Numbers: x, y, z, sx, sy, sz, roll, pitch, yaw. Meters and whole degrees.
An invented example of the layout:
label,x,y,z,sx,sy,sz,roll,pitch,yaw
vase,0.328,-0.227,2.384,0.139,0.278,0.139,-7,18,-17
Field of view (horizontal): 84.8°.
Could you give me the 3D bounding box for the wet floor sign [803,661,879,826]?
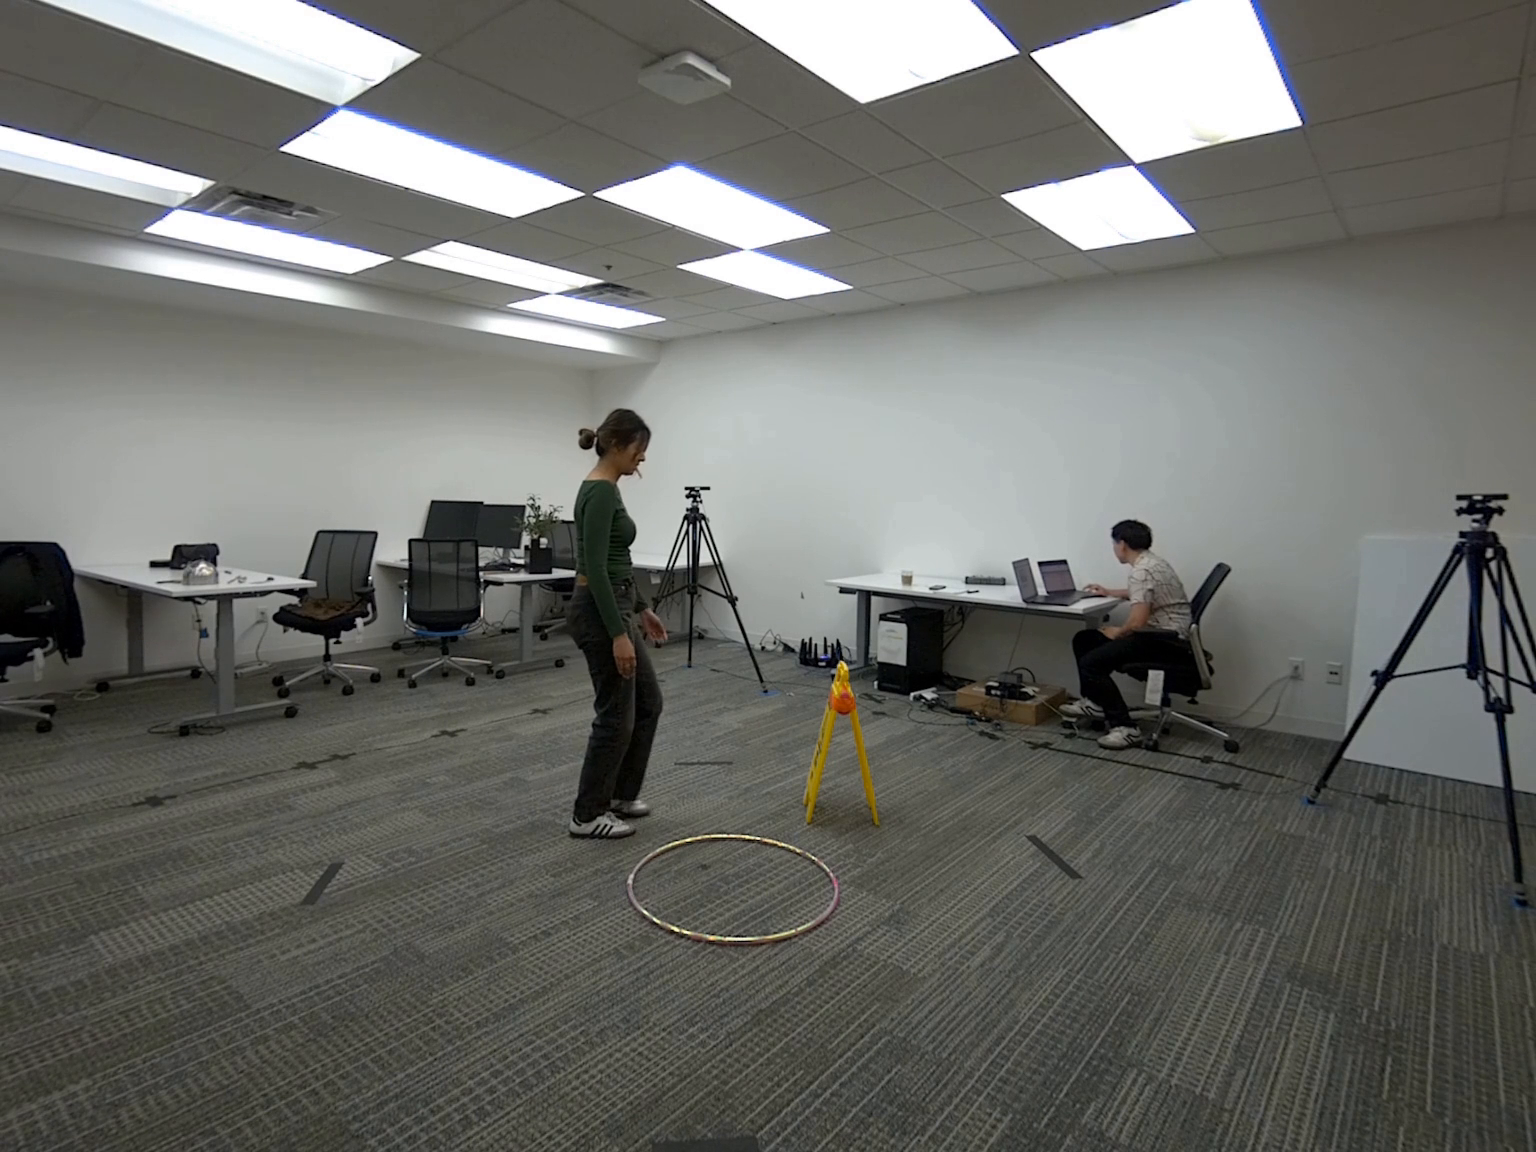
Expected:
label,x,y,z,sx,sy,sz,roll,pitch,yaw
wet floor sign,0.306,0.699,3.646,0.290,0.644,0.283,1,4,1
